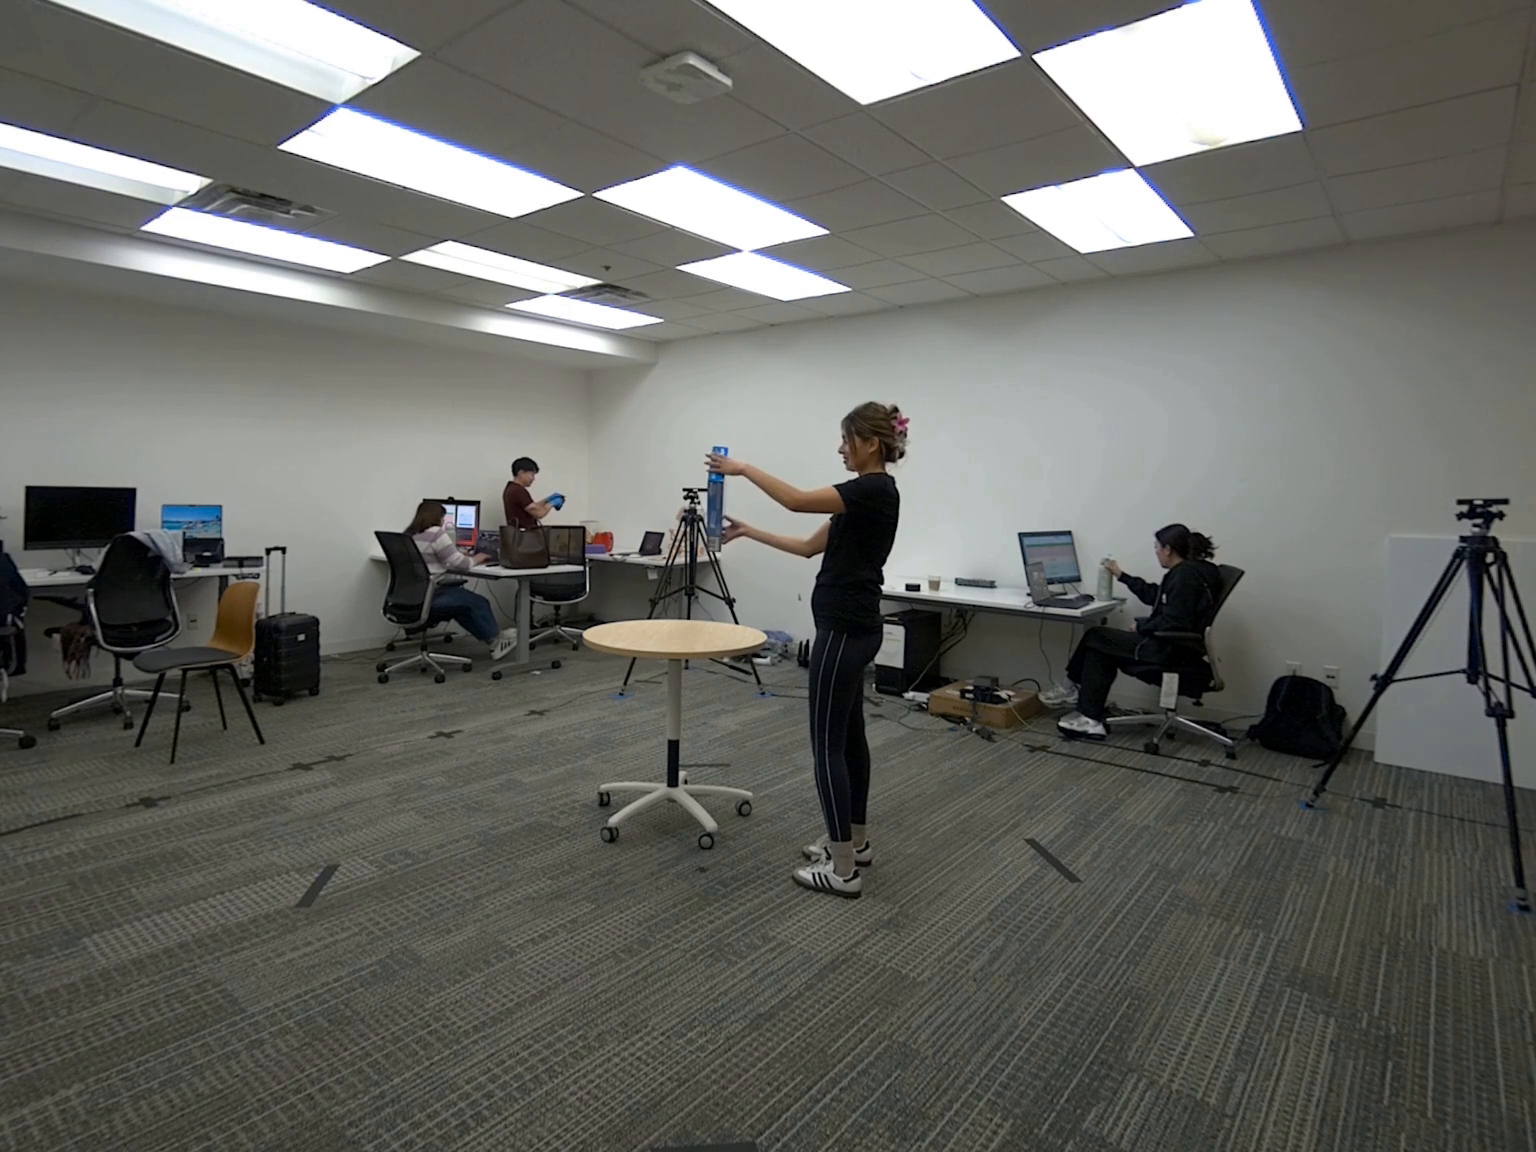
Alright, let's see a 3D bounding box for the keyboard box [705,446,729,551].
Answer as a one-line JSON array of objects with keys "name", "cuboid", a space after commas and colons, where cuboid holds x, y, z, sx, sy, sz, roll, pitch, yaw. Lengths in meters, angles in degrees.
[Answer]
[{"name": "keyboard box", "cuboid": [-0.210, -0.290, 3.280, 0.059, 0.181, 0.426, 4, -40, -3]}]
